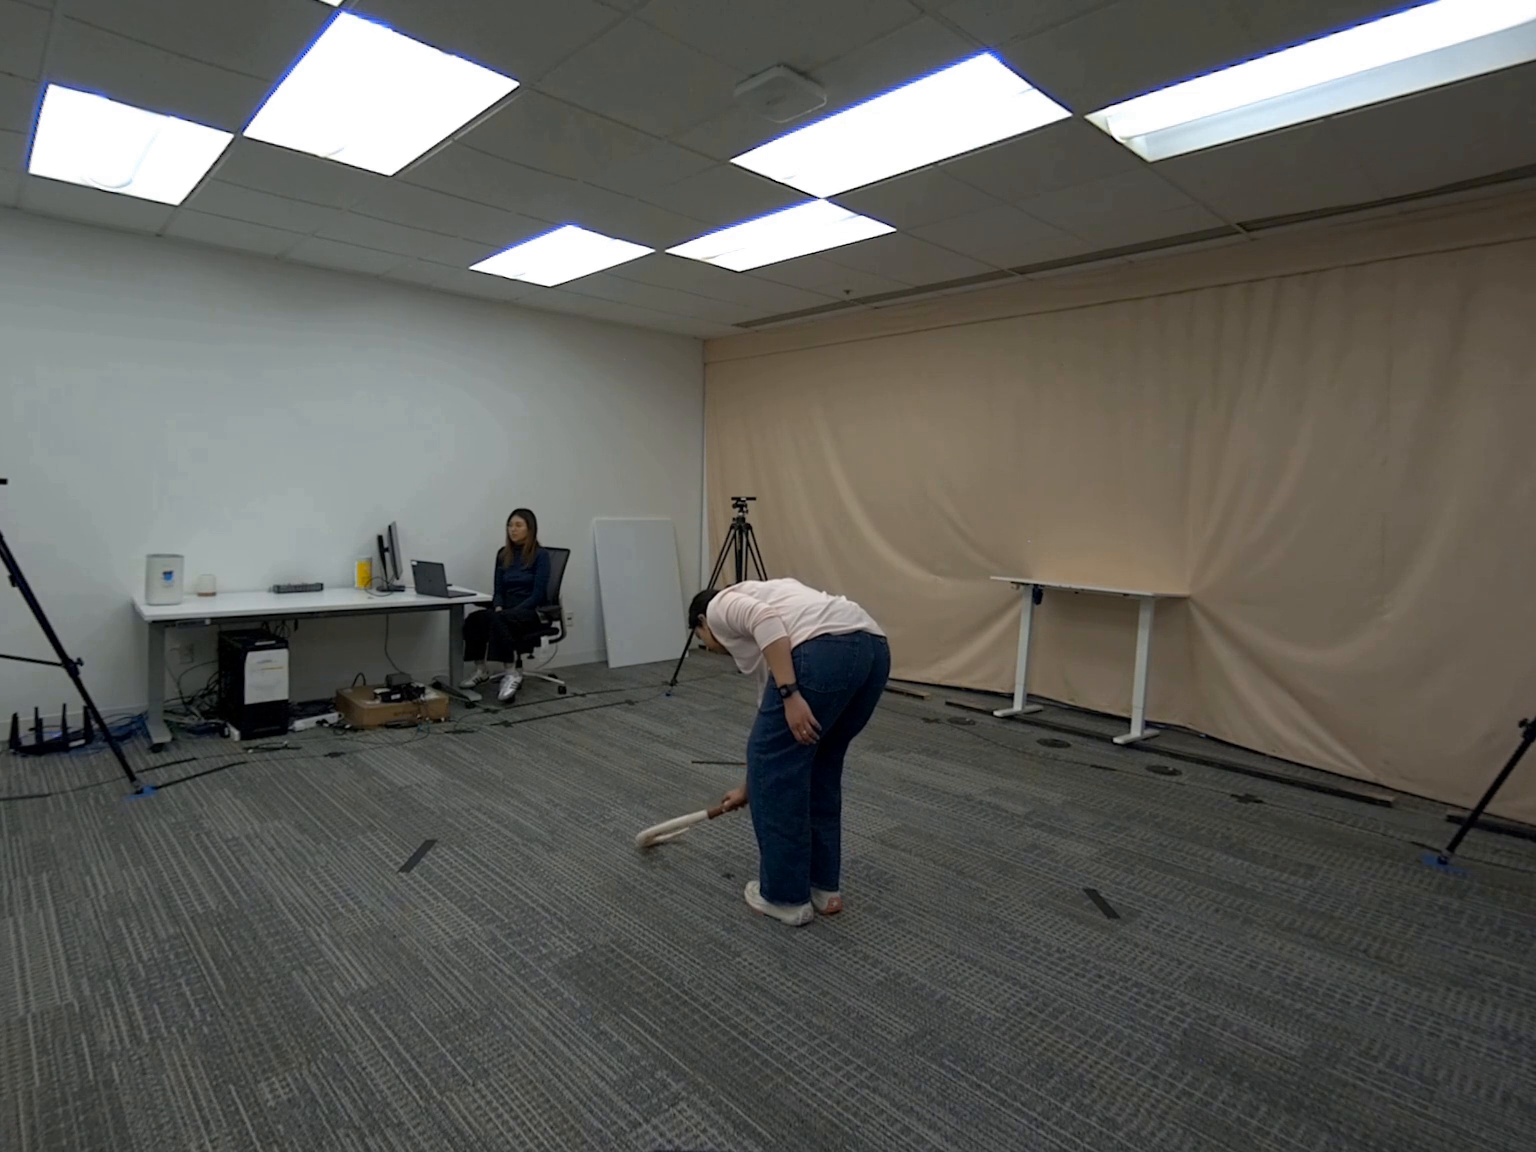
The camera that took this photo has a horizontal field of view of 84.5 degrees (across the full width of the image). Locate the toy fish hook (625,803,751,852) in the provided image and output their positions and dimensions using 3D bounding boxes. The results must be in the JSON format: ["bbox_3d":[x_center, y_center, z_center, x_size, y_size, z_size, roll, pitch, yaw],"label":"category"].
[{"bbox_3d":[-0.283,0.962,3.304,0.507,0.049,0.220,-19,-22,2],"label":"toy fish hook"}]
